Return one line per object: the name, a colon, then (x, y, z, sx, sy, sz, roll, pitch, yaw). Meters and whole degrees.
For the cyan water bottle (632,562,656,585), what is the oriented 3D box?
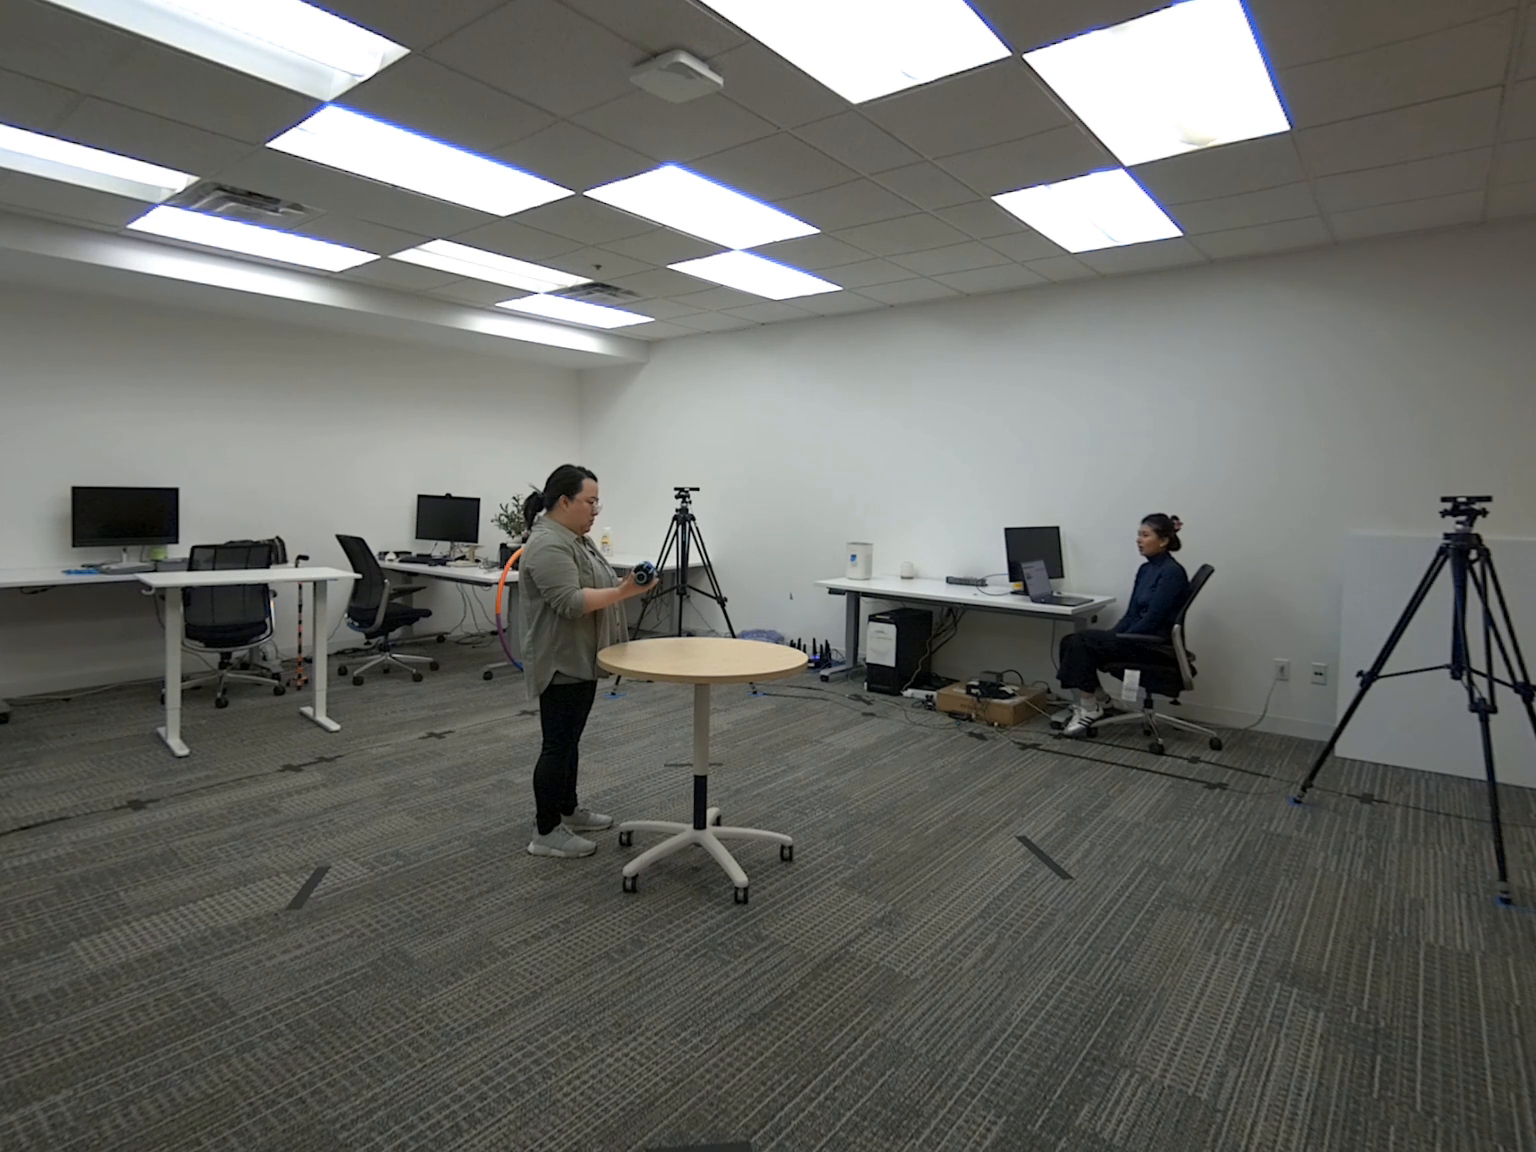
cyan water bottle: (-0.496, -0.007, 3.245, 0.091, 0.092, 0.285, 0, -1, -11)
